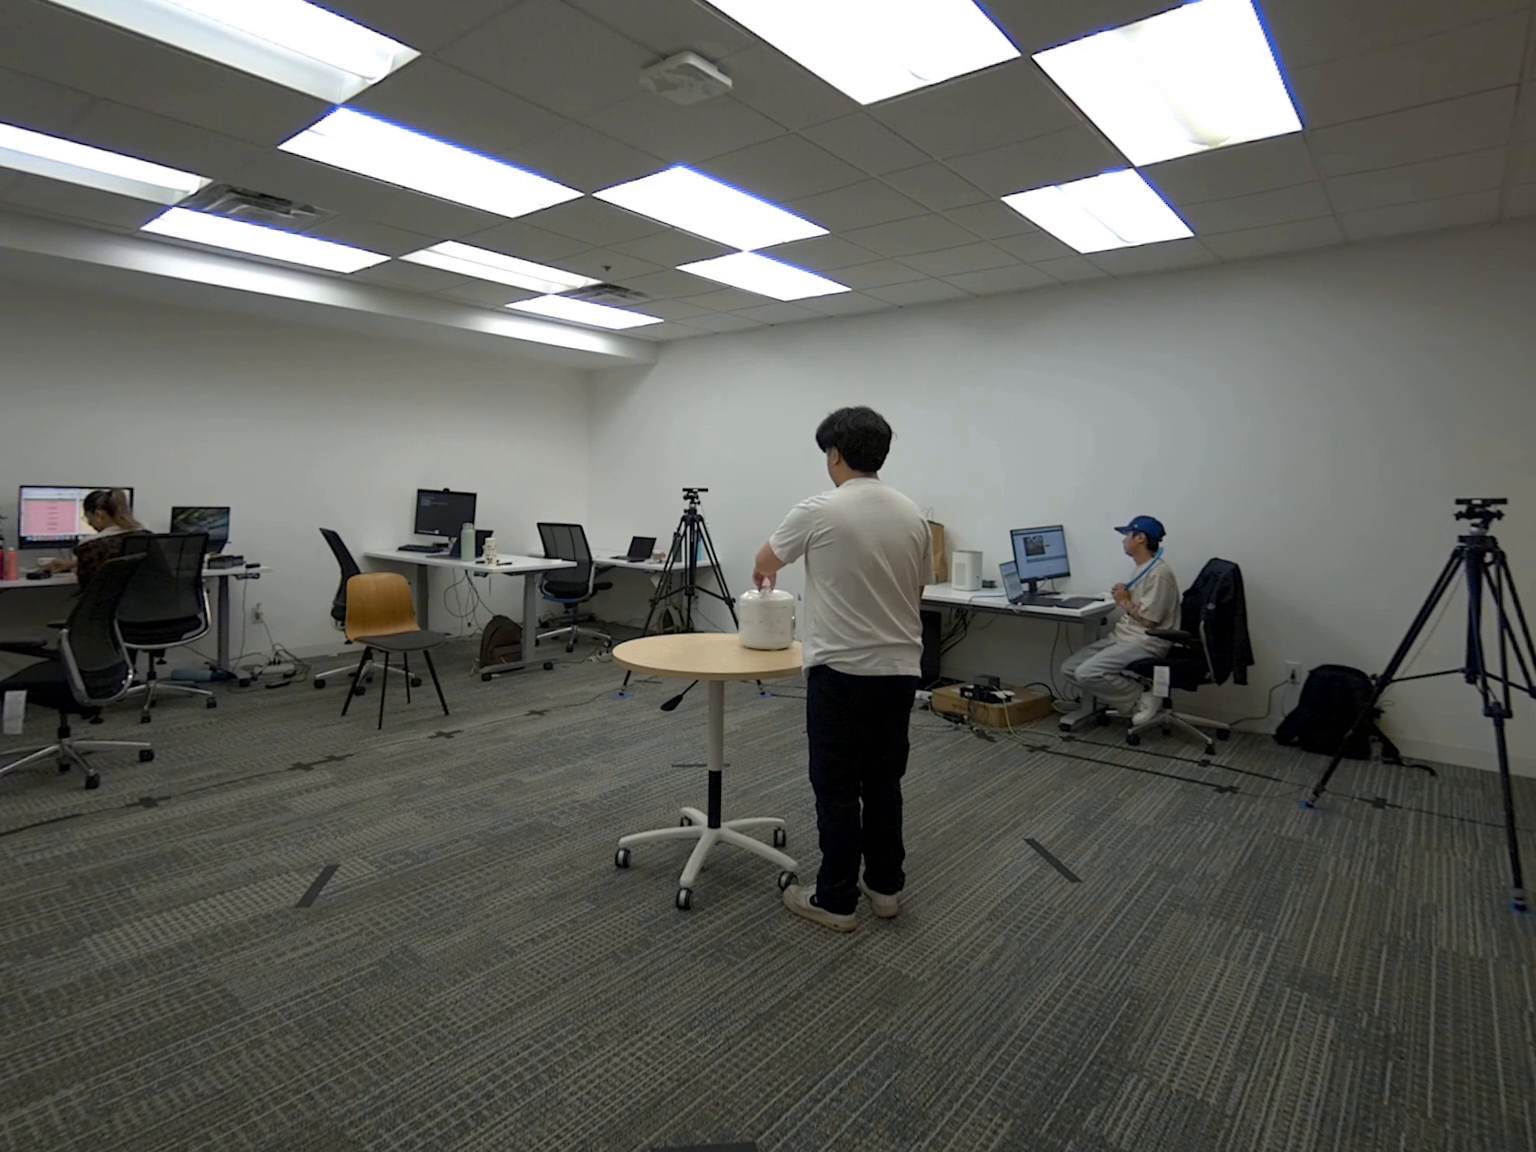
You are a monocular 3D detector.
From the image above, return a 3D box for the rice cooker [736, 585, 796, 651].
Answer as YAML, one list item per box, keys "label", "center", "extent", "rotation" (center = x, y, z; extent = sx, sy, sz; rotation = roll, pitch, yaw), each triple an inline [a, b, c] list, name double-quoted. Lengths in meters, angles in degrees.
- label: "rice cooker"
  center: [-0.012, 0.149, 3.222]
  extent: [0.221, 0.232, 0.218]
  rotation: [0, 4, 15]
